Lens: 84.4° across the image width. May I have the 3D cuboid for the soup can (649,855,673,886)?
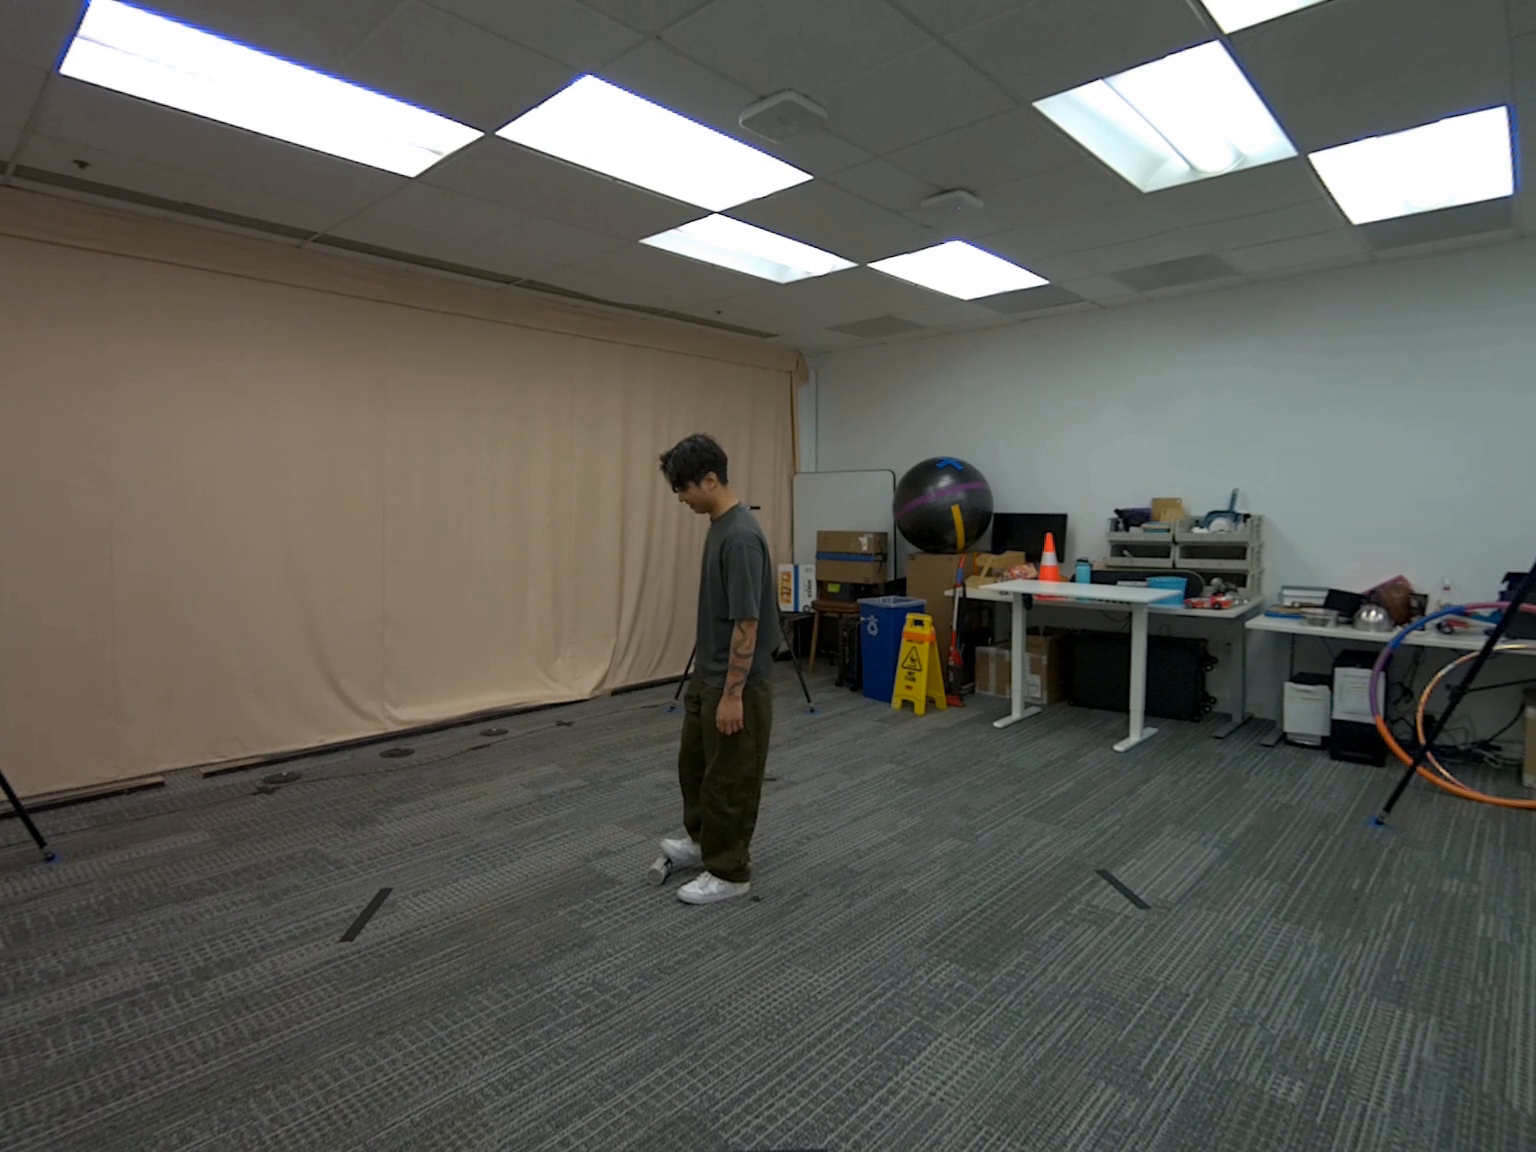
[{"bbox_3d":[-0.403,1.099,3.151,0.068,0.067,0.120,1,0,13],"label":"soup can"}]
